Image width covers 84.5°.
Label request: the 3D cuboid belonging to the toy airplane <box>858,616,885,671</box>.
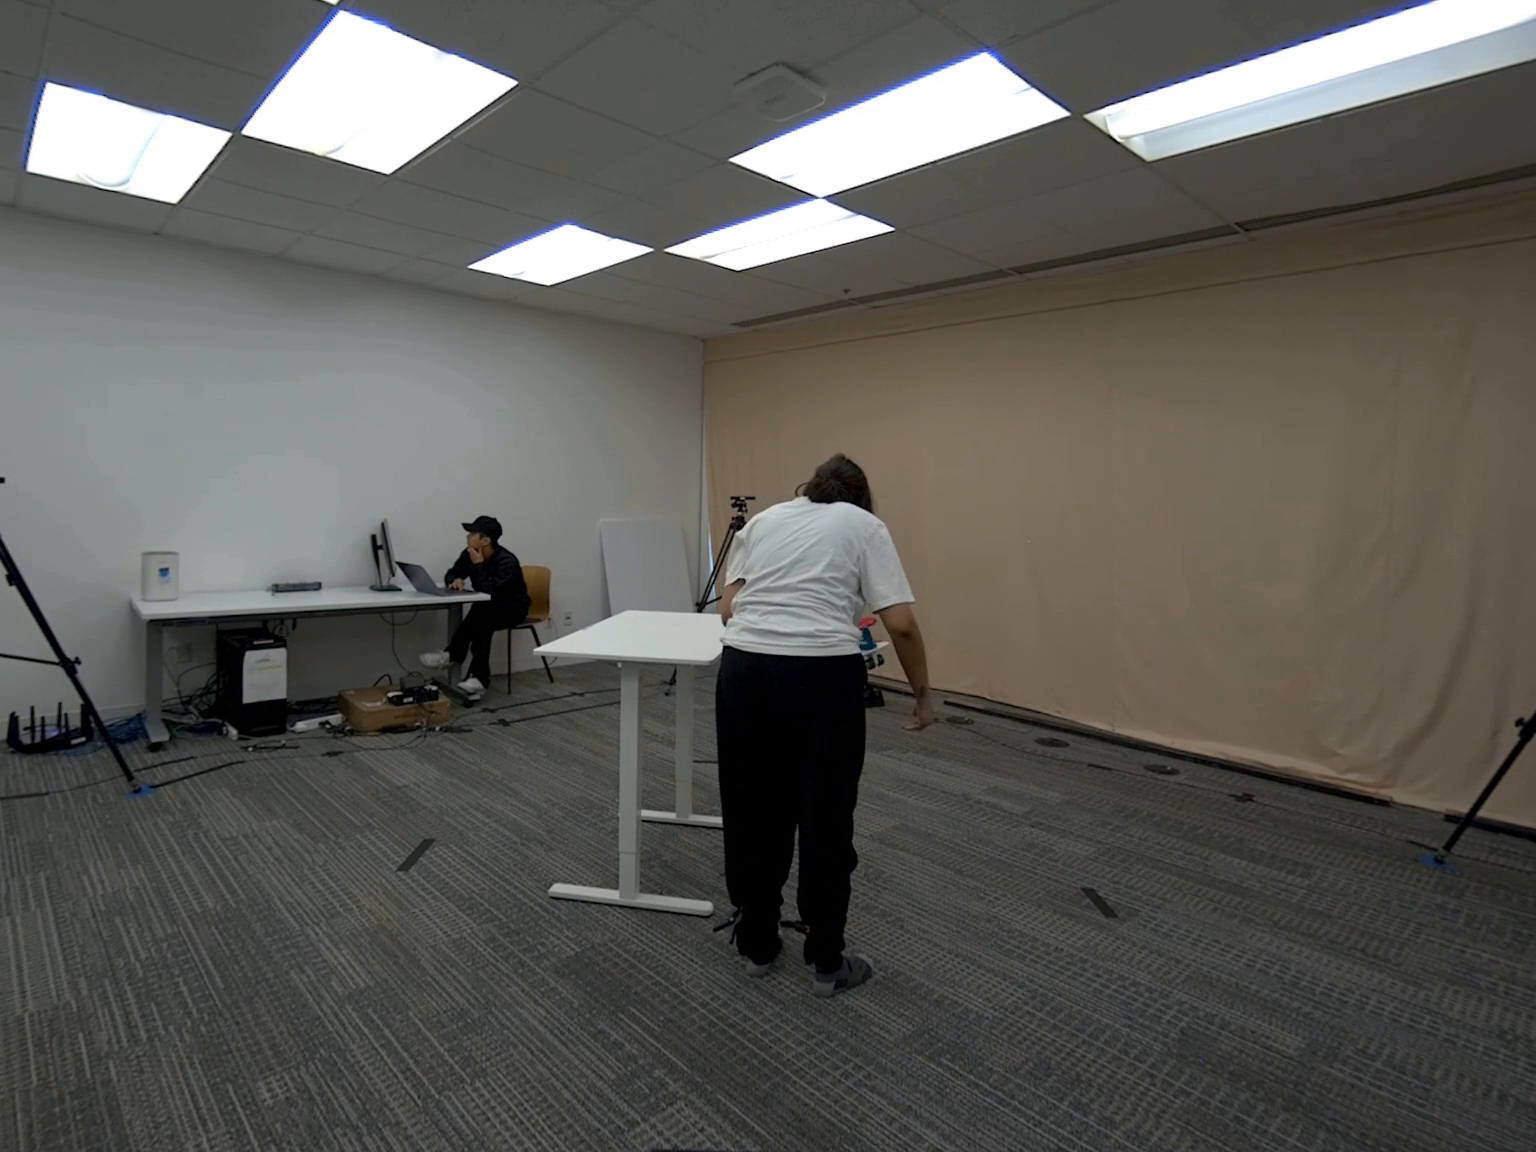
[{"bbox_3d":[0.265,0.234,2.691,0.262,0.157,0.247,-25,-6,39],"label":"toy airplane"}]
